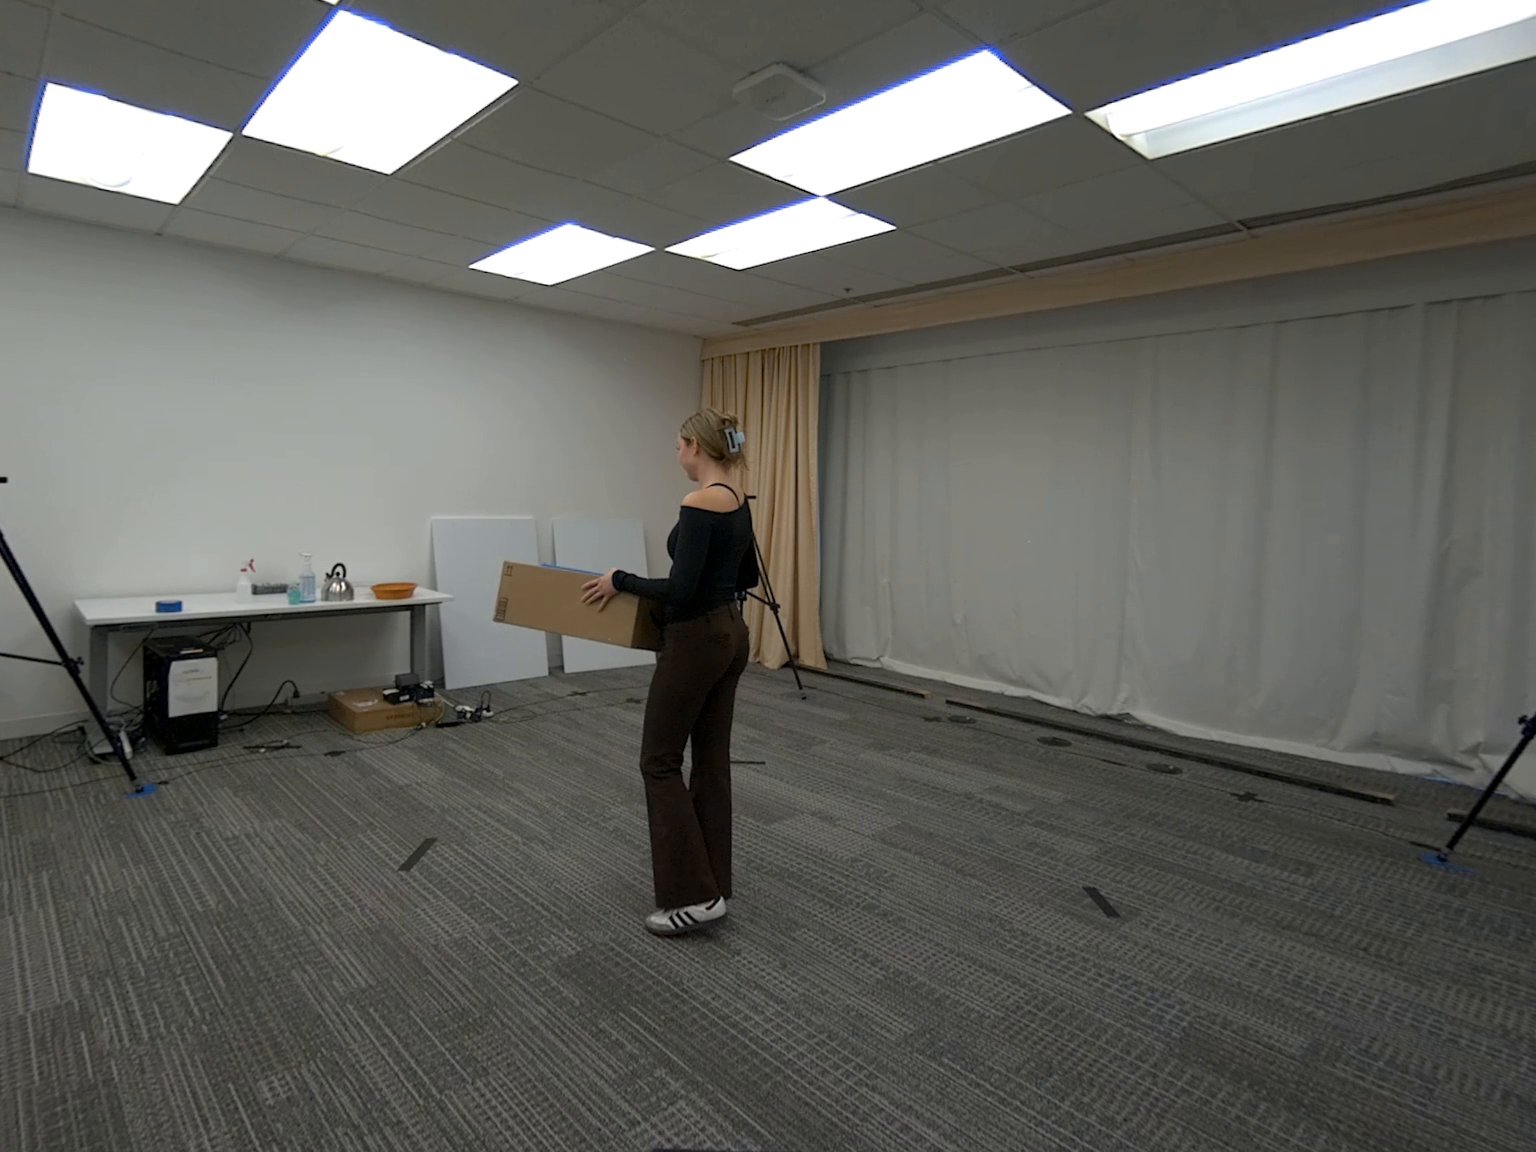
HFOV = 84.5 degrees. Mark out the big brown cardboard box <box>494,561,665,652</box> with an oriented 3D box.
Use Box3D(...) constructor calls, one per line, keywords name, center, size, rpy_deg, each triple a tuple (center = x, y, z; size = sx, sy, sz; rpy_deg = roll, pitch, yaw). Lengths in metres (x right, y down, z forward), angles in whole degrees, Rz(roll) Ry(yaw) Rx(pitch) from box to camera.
Box3D(name="big brown cardboard box", center=(-0.604, 0.107, 2.962), size=(0.601, 0.233, 0.408), rpy_deg=(9, -3, 25))
